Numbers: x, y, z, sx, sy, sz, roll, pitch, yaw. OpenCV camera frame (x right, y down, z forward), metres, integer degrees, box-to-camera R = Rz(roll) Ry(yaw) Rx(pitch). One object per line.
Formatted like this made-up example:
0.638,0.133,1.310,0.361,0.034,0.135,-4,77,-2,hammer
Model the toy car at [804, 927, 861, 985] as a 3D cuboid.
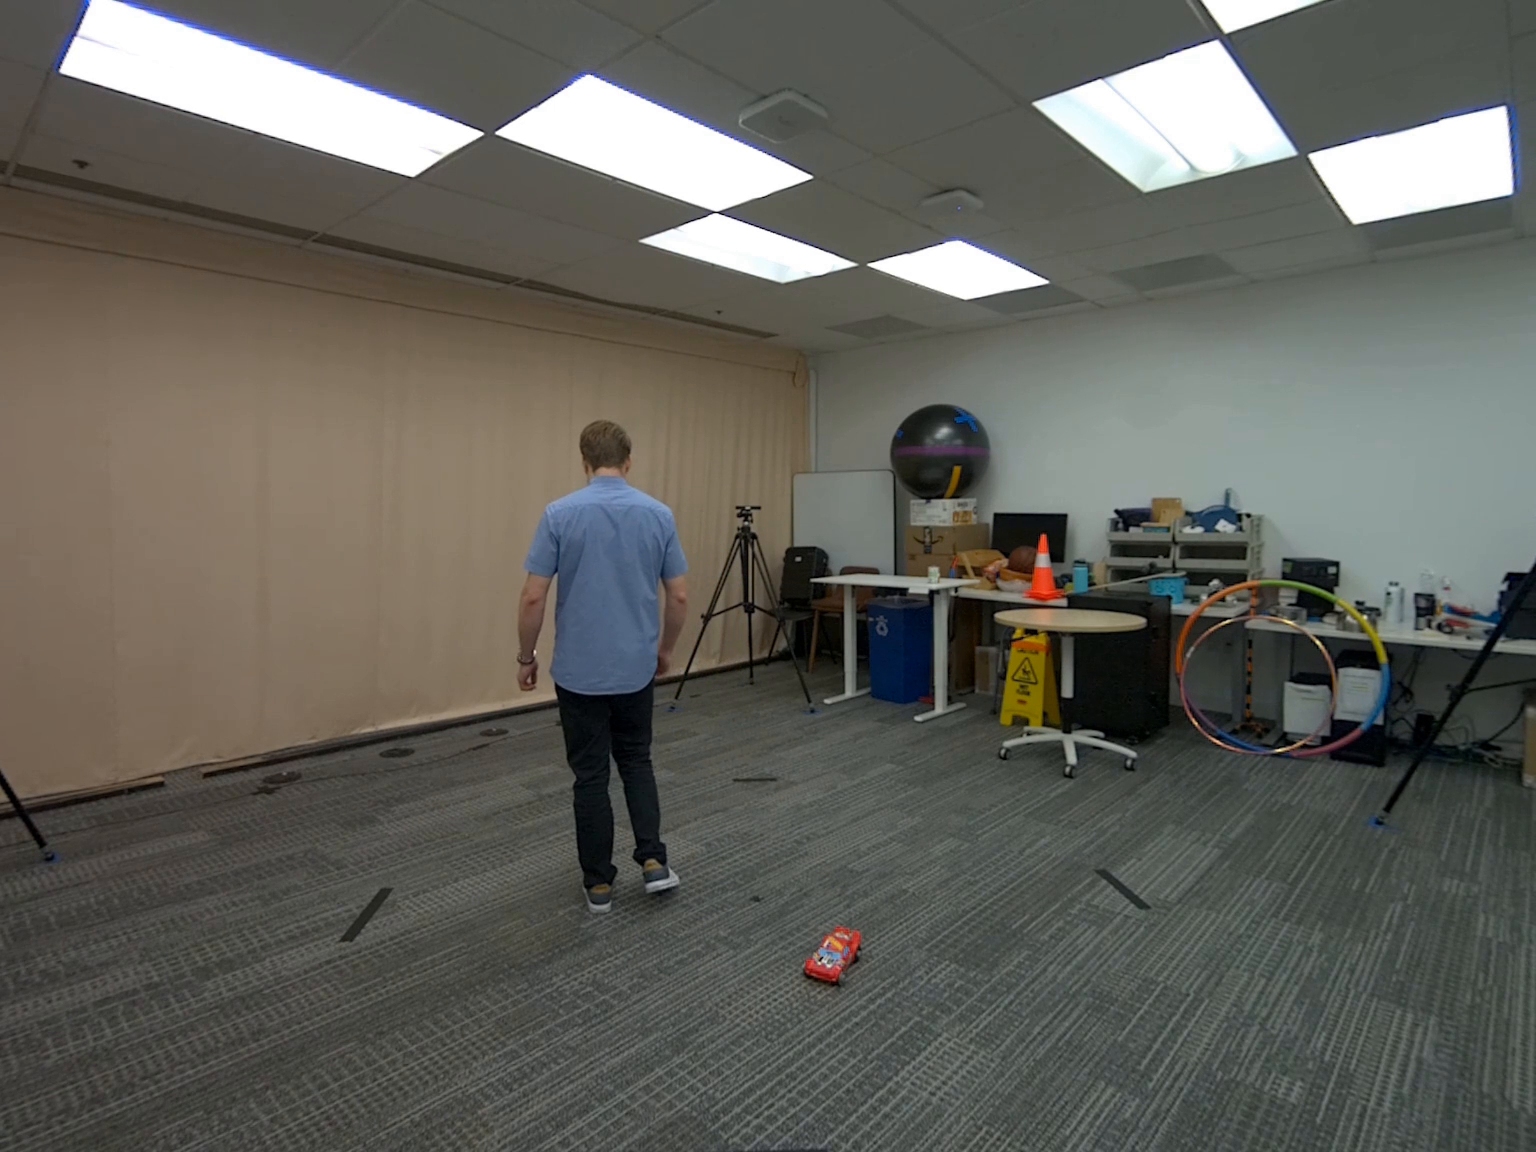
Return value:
0.209,1.148,2.549,0.134,0.082,0.250,2,16,28,toy car
